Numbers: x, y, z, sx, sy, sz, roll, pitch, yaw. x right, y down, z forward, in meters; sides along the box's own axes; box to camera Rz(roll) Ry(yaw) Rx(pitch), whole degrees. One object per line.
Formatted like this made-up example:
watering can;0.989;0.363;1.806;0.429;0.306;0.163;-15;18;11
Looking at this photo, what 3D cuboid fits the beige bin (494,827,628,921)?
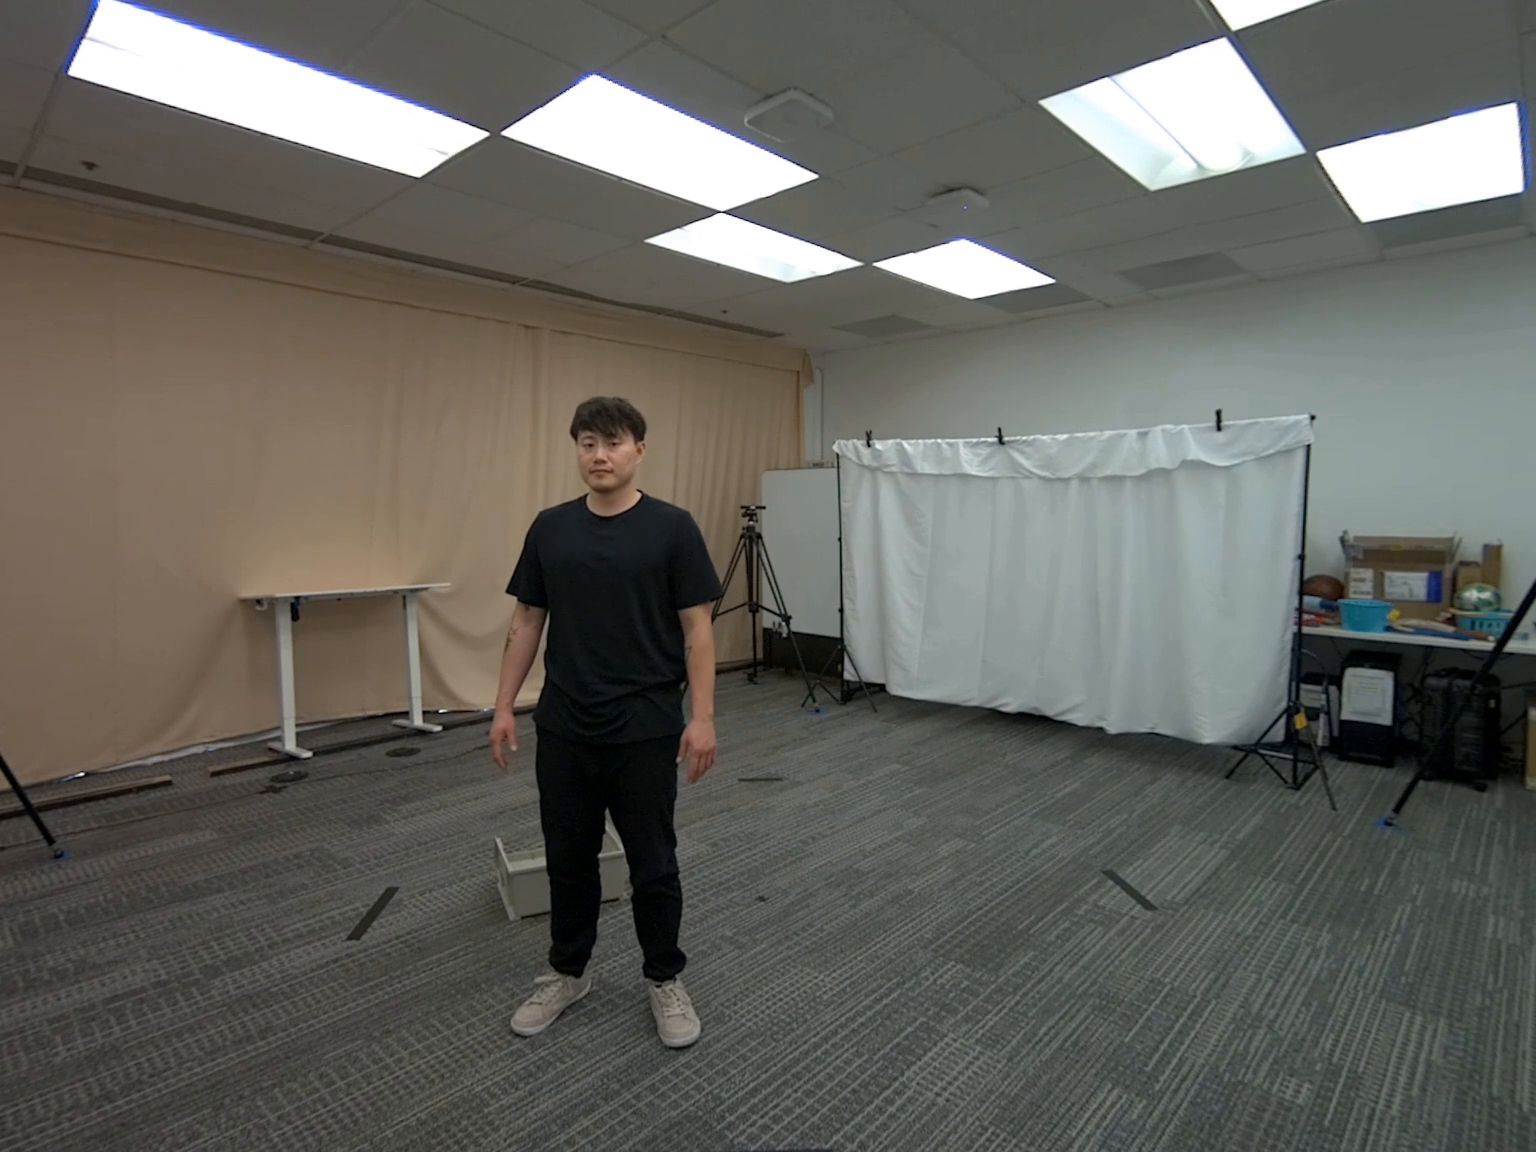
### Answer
beige bin;-0.761;1.054;3.064;0.413;0.188;0.387;-2;6;-24
